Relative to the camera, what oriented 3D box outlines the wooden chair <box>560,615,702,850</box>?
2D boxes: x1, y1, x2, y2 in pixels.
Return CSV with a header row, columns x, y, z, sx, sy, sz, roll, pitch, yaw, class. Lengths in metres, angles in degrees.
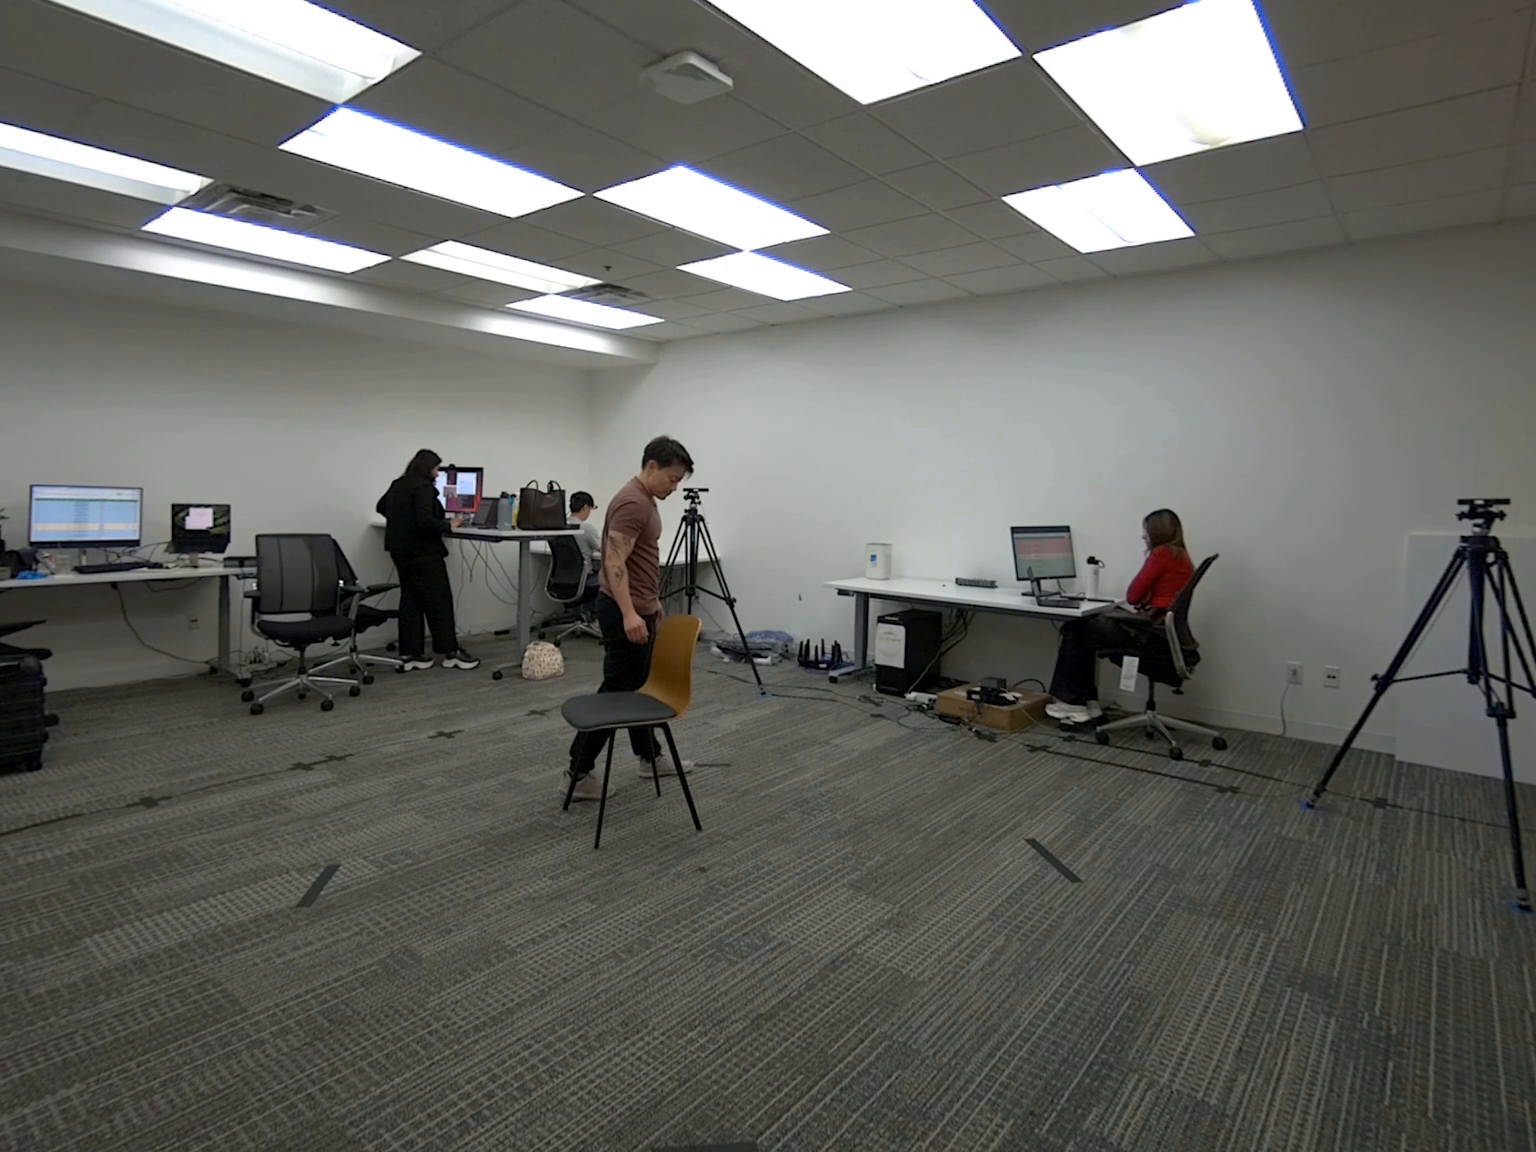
x,y,z,sx,sy,sz,roll,pitch,yaw,class
-0.587,0.594,3.528,0.509,0.877,0.492,4,1,-29,wooden chair
